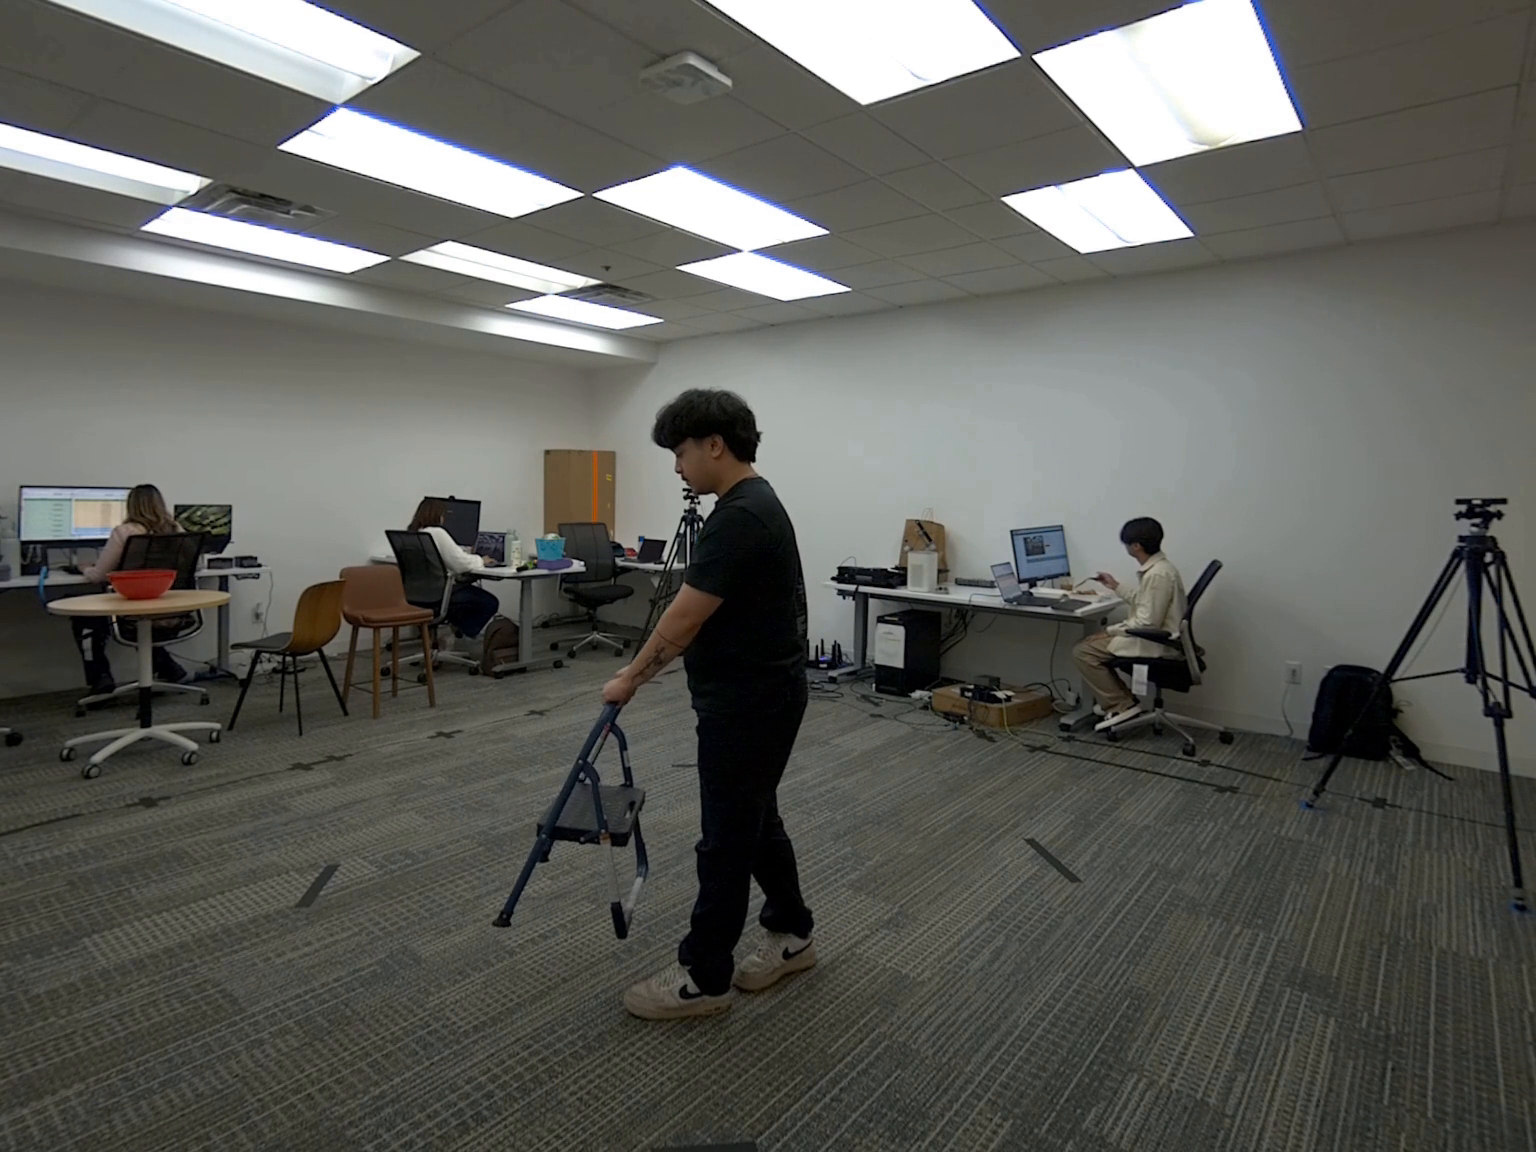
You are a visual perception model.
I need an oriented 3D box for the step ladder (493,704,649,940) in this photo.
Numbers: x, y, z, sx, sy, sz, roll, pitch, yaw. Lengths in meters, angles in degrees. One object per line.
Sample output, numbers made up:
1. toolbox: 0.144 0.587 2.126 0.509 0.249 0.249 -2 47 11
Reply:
1. step ladder: -0.507 0.602 2.350 0.350 0.604 0.431 6 3 0
